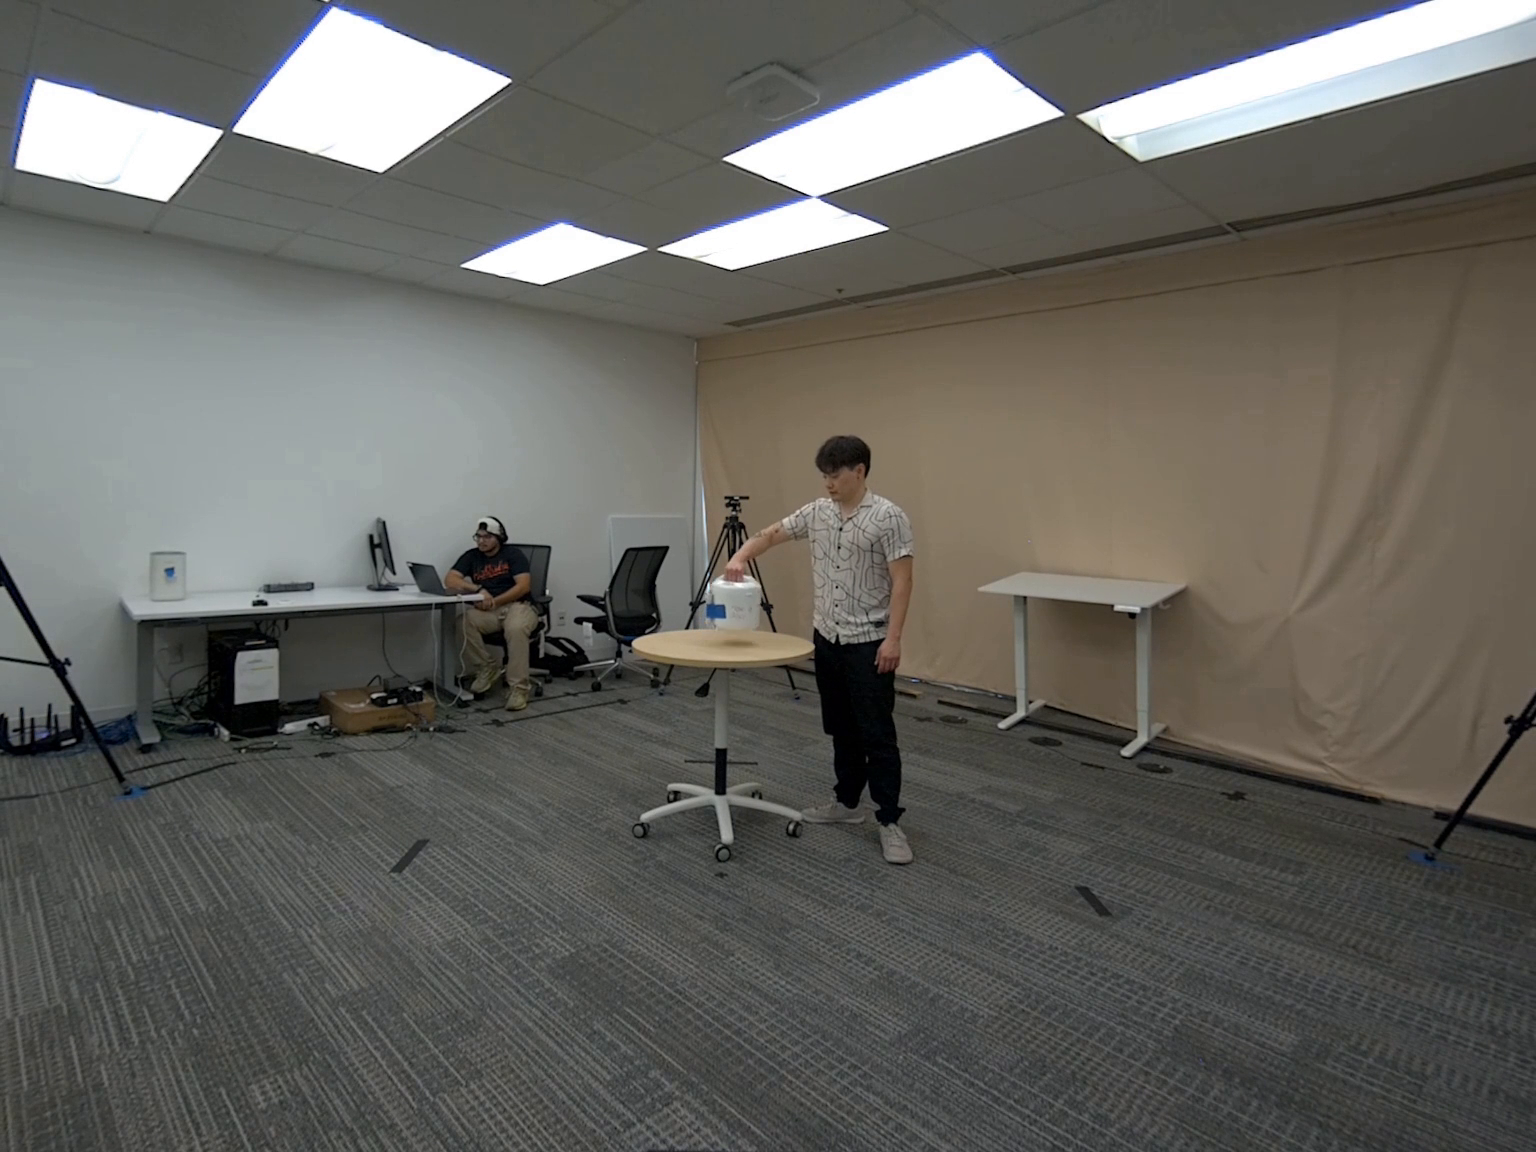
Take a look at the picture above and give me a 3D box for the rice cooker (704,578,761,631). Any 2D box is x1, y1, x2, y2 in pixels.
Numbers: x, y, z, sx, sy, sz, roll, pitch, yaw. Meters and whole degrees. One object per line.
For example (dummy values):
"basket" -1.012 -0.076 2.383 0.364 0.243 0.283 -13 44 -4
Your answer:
"rice cooker" -0.144 0.105 3.508 0.224 0.231 0.215 6 8 19
